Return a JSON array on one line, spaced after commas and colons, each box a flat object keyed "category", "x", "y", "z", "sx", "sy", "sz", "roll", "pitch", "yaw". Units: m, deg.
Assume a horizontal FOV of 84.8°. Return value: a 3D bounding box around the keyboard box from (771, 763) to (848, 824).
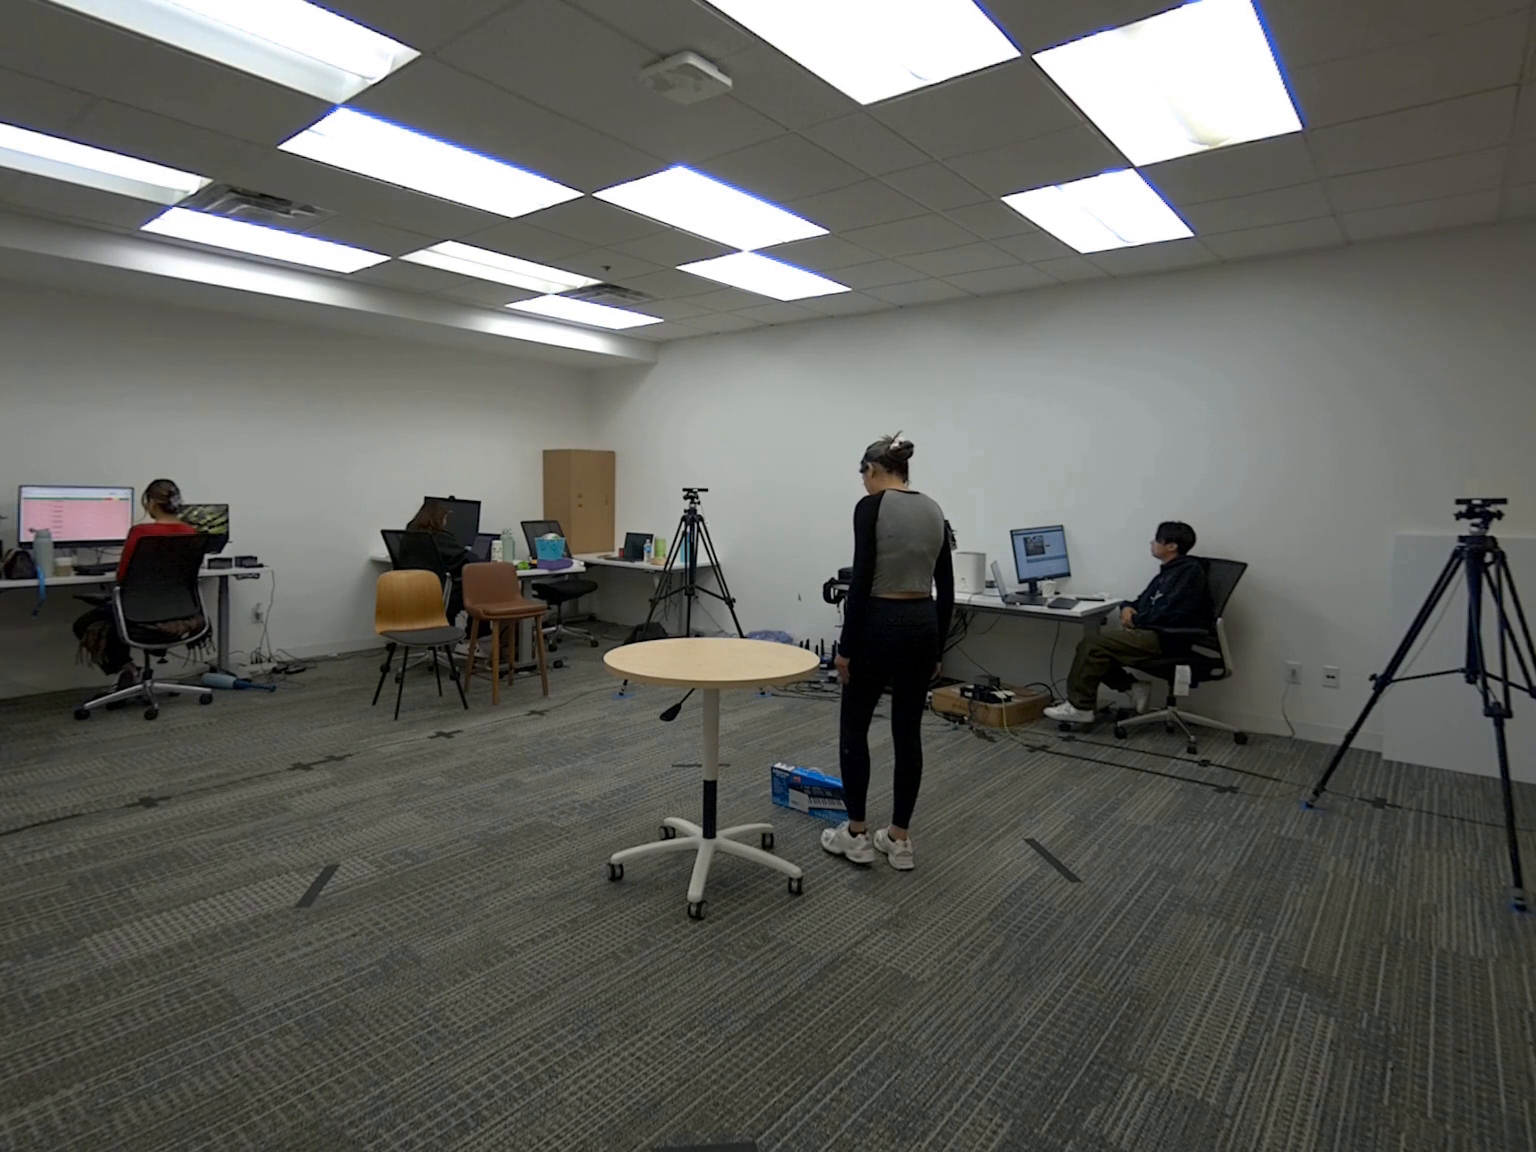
[{"category": "keyboard box", "x": 0.198, "y": 0.938, "z": 3.661, "sx": 0.451, "sy": 0.174, "sz": 0.057, "roll": 6, "pitch": 11, "yaw": 38}]
